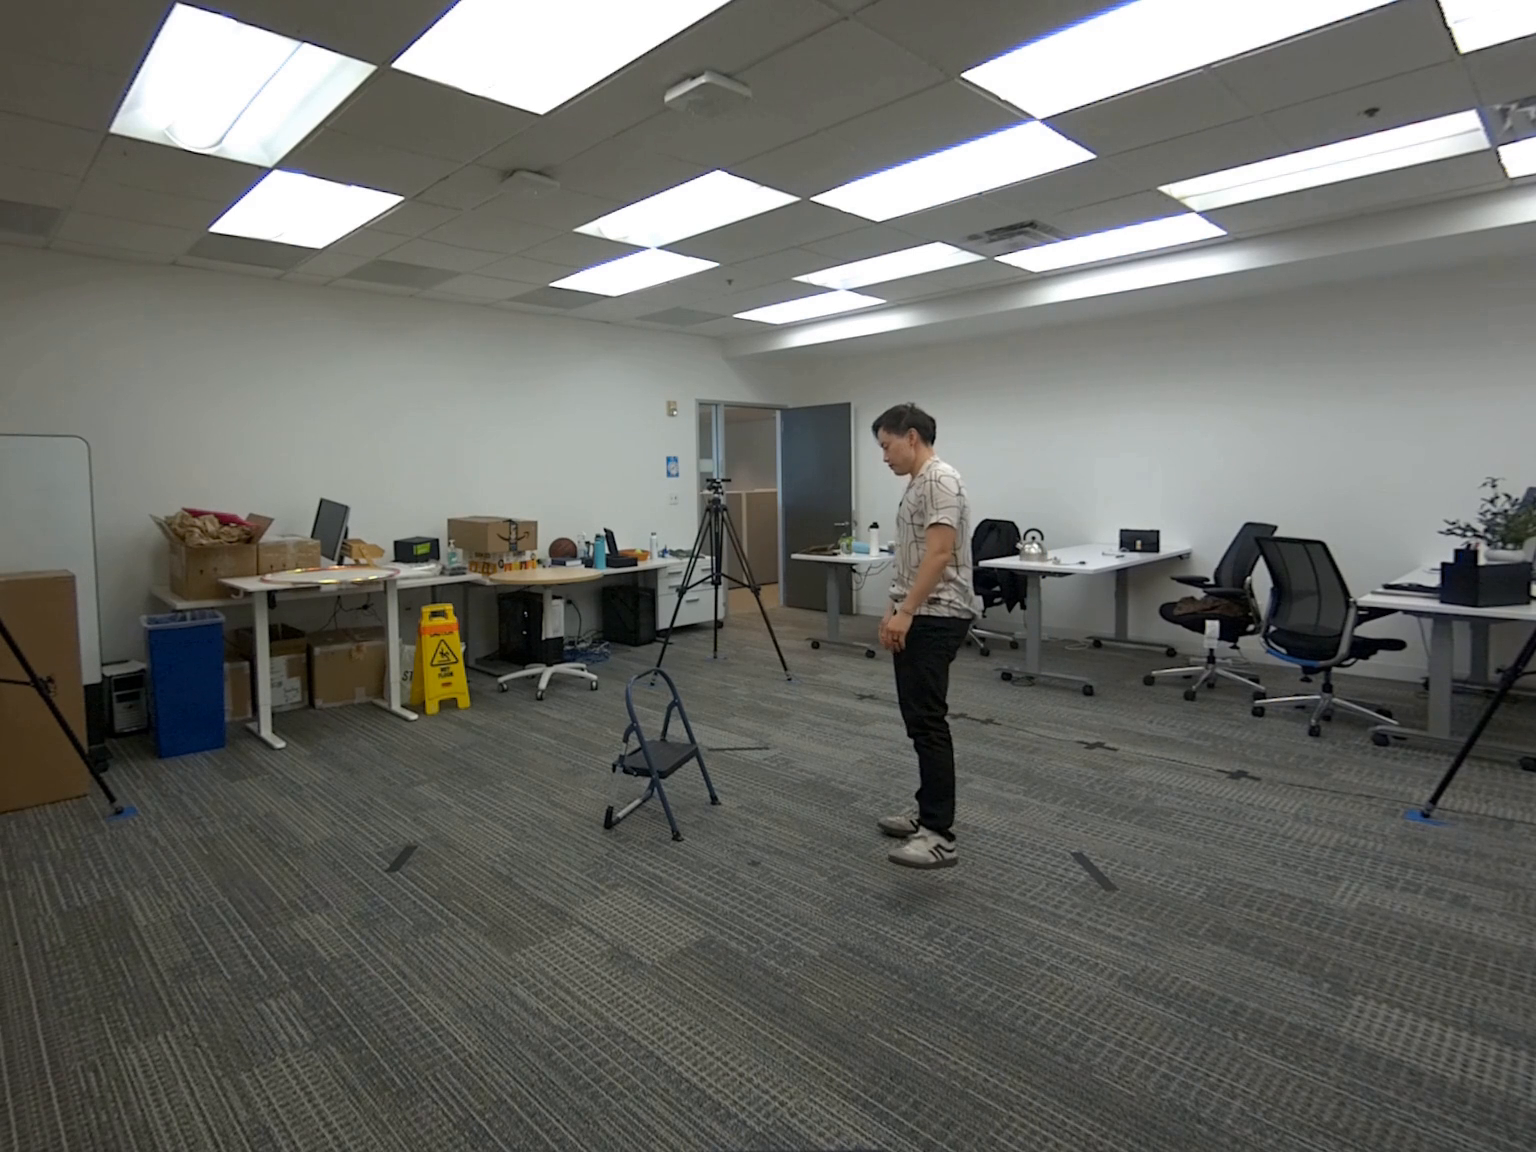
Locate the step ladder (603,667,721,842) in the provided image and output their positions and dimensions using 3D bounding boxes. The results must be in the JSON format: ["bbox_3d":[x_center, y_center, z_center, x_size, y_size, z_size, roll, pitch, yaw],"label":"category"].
[{"bbox_3d":[-0.443,0.700,3.548,0.356,0.604,0.424,0,4,20],"label":"step ladder"}]
